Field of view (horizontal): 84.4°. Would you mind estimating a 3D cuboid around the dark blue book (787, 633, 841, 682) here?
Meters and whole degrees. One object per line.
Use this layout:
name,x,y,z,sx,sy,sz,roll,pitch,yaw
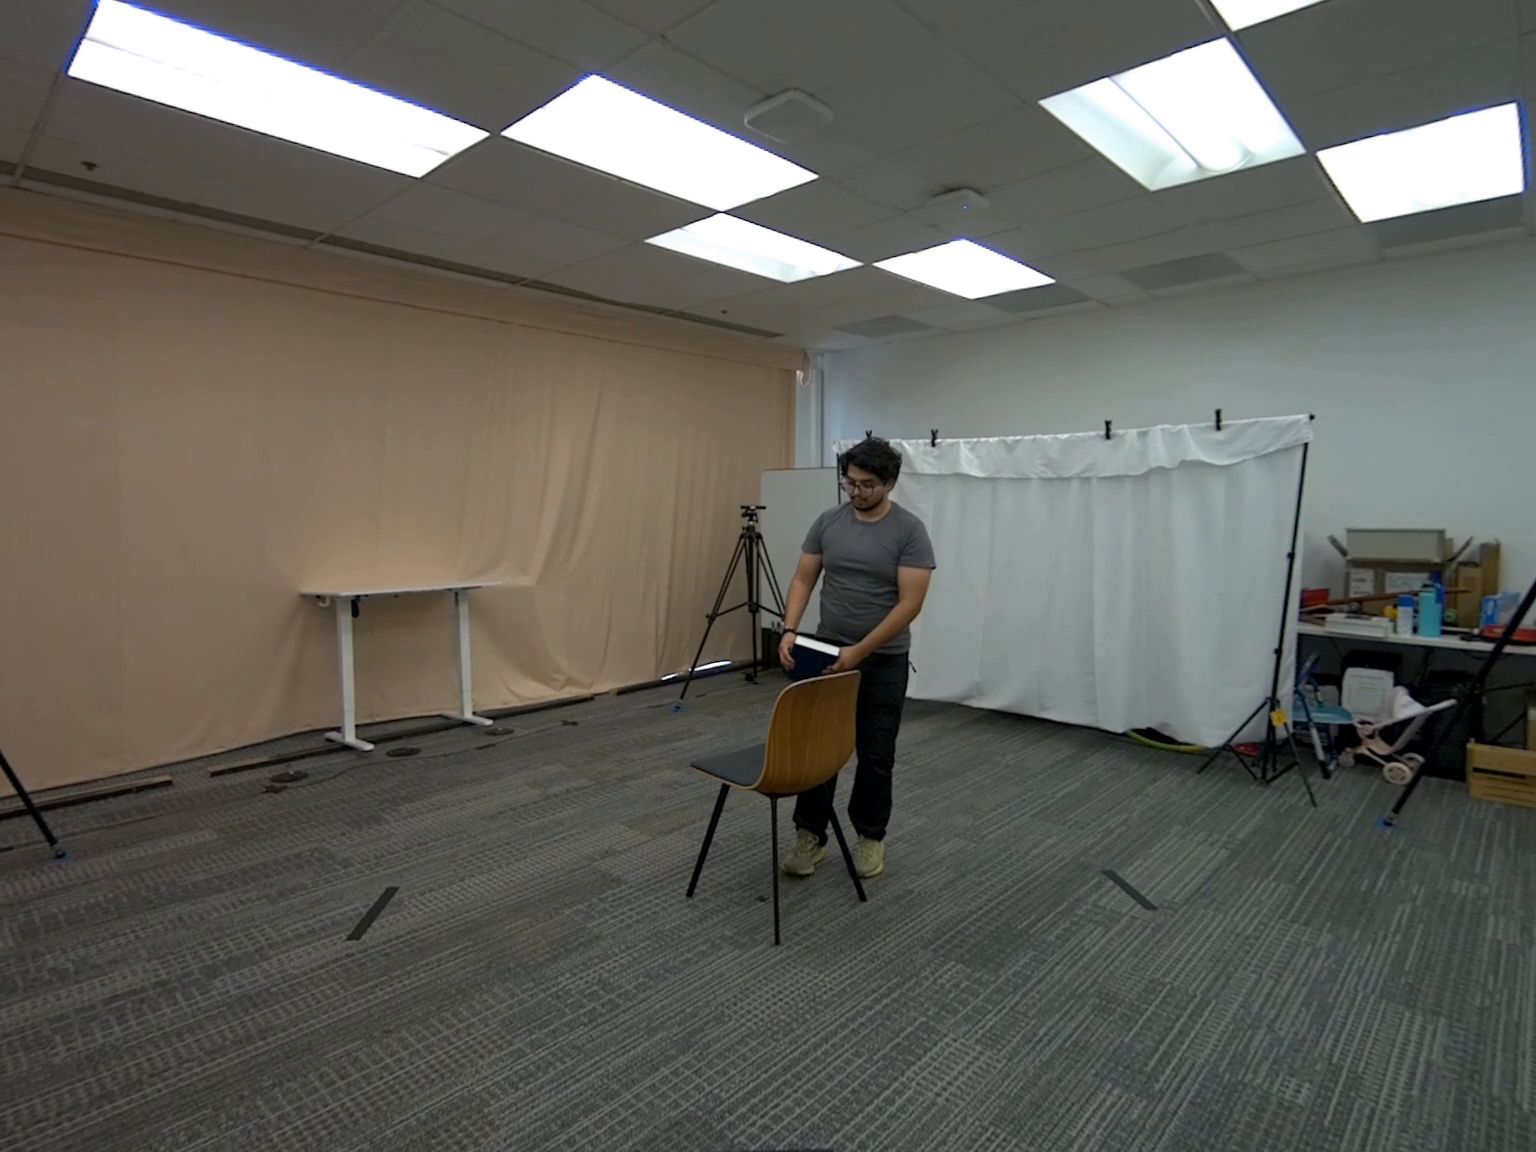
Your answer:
dark blue book,0.163,0.321,3.052,0.166,0.045,0.240,17,-38,13
